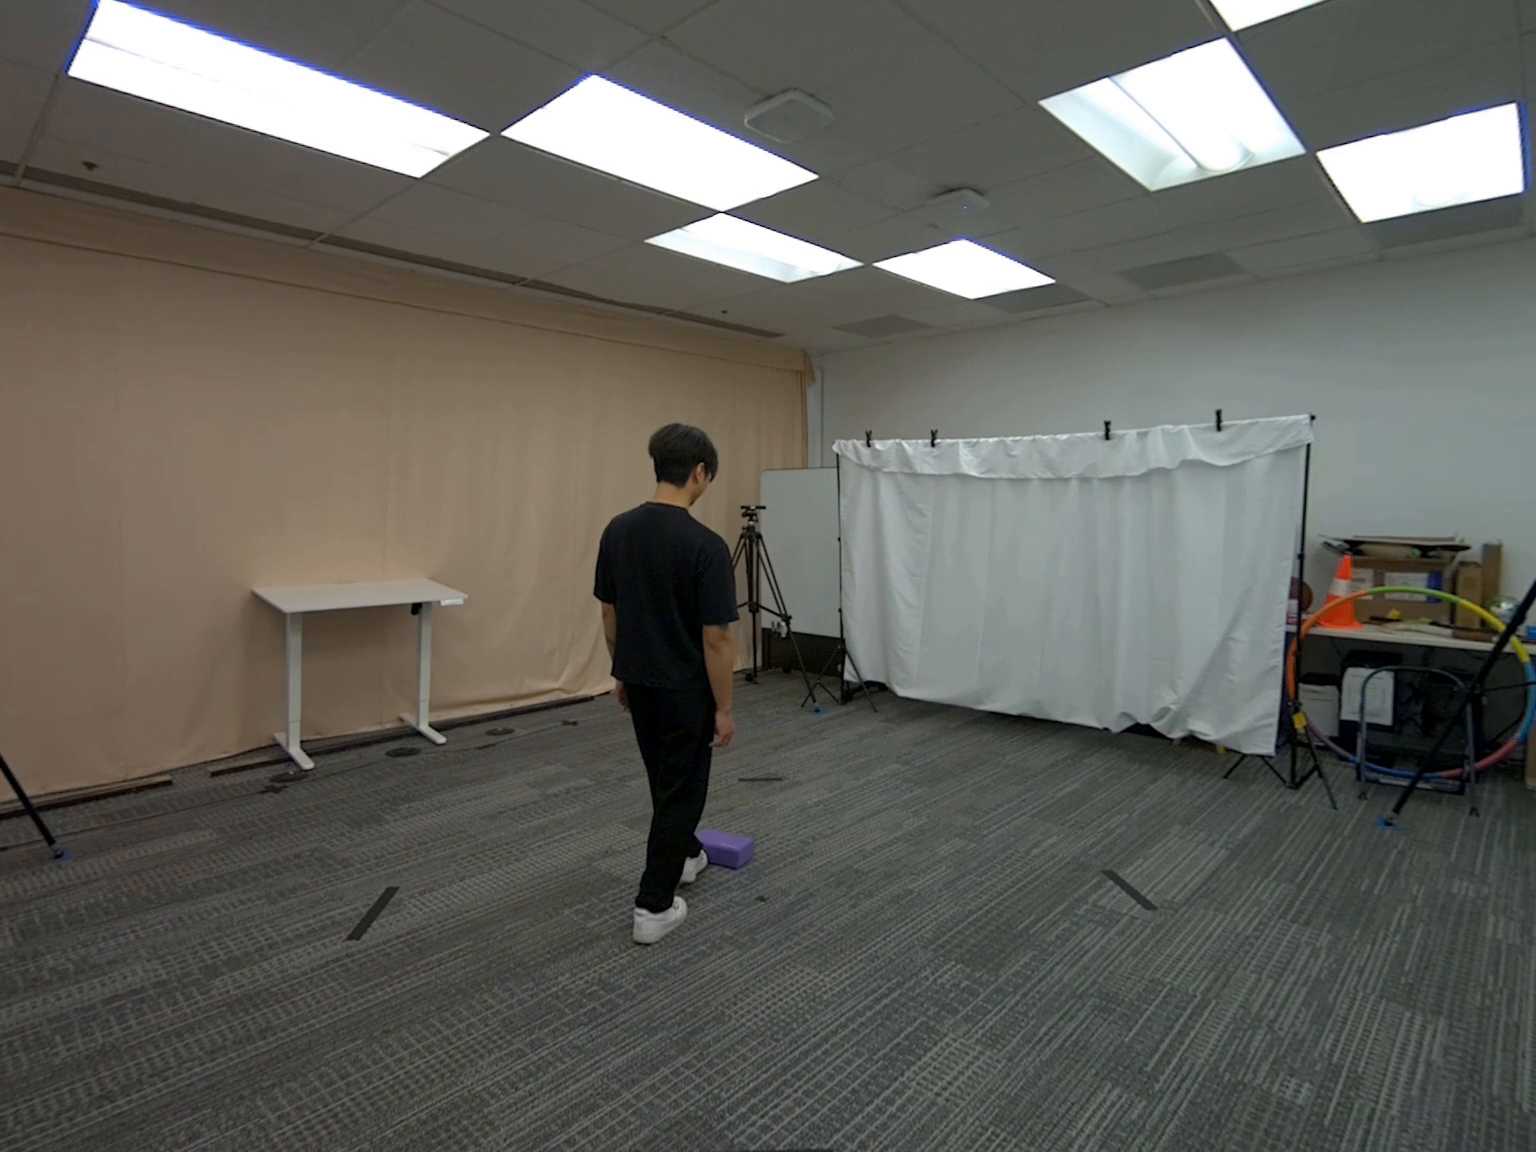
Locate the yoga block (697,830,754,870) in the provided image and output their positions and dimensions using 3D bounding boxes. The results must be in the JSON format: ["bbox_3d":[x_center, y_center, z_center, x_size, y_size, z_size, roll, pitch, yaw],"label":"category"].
[{"bbox_3d":[-0.191,1.071,3.322,0.236,0.076,0.145,2,4,28],"label":"yoga block"}]
